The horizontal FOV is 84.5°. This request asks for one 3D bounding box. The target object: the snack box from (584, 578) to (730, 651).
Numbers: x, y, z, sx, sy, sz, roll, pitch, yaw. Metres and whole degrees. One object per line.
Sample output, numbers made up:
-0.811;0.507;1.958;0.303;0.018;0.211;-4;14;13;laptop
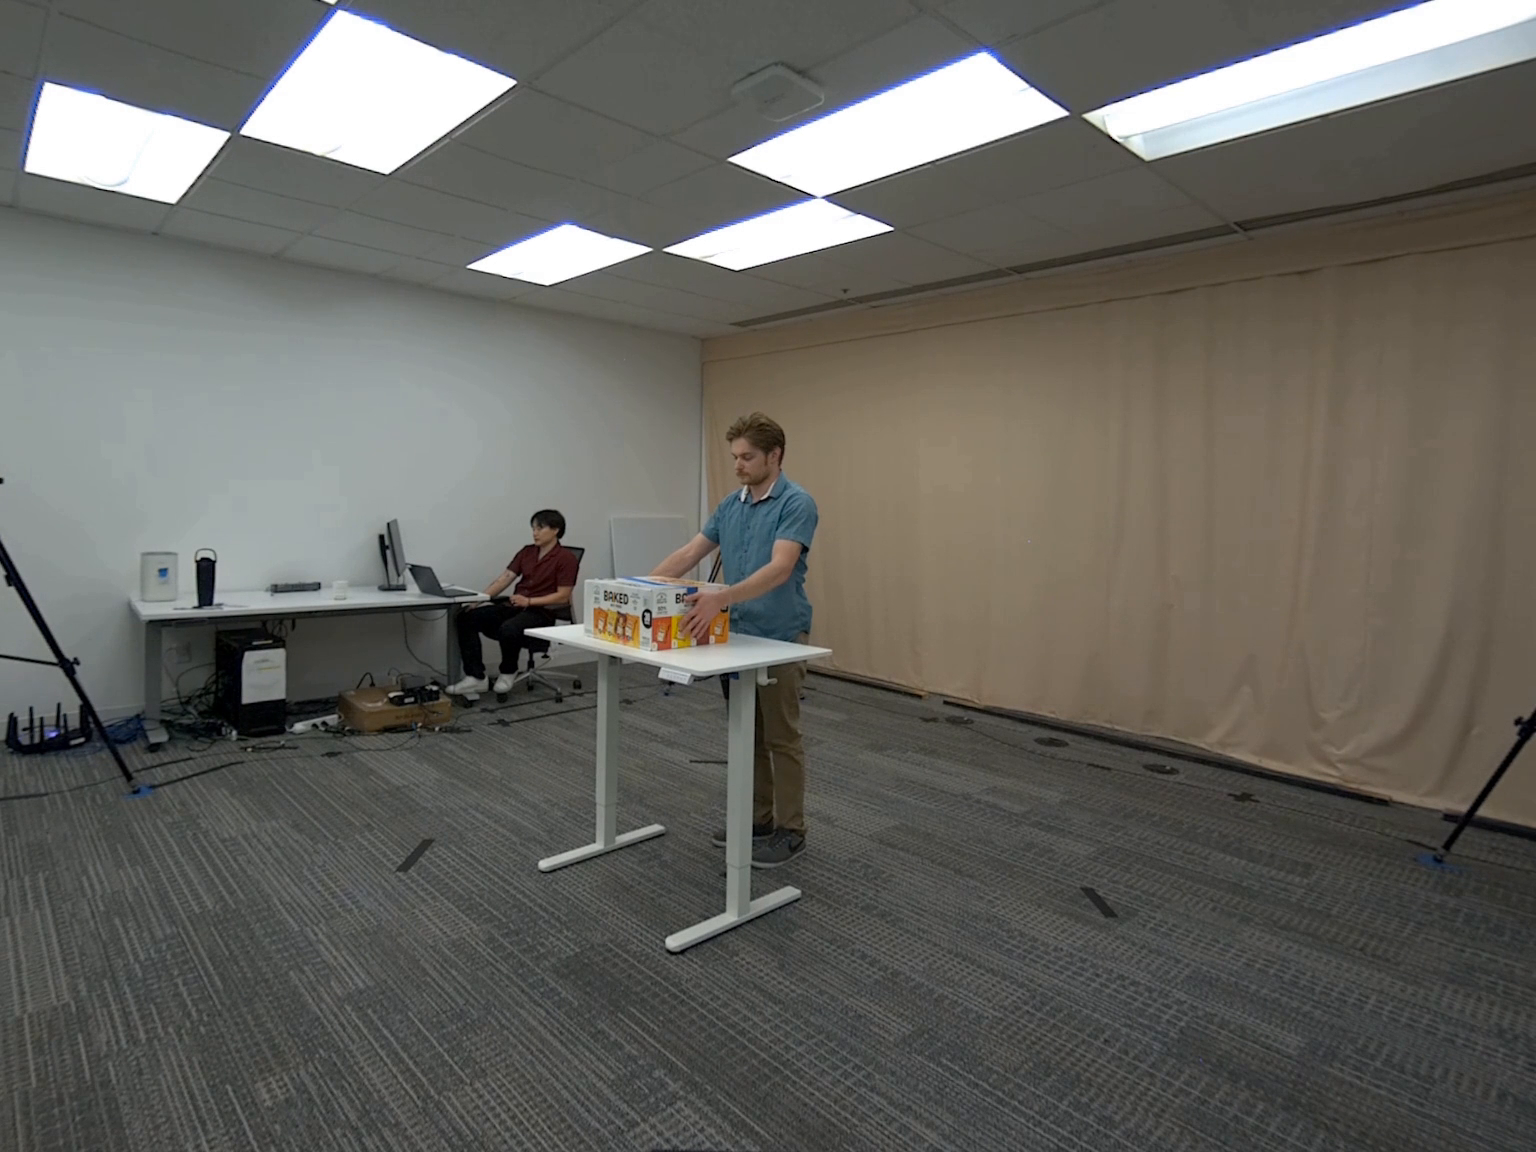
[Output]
-0.408;0.125;2.991;0.332;0.205;0.415;-2;5;-44;snack box
